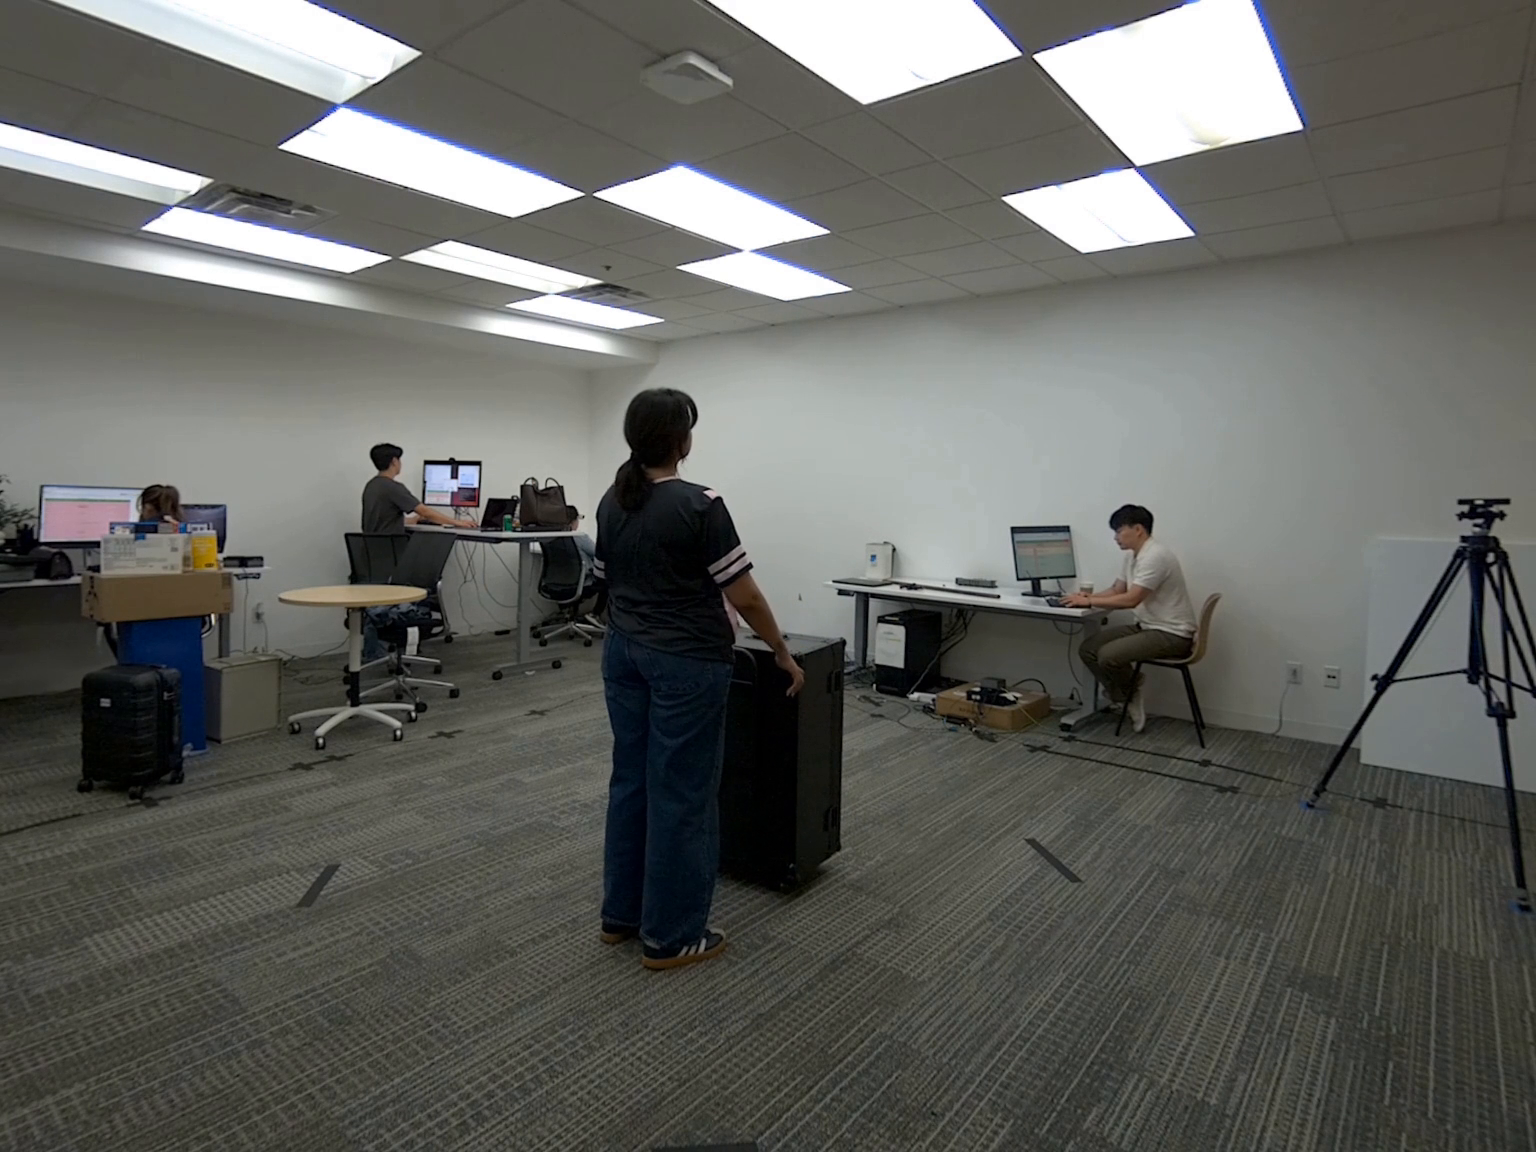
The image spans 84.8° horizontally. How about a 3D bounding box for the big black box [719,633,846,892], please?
[{"bbox_3d":[-0.023,0.654,3.092,0.539,0.865,0.375,3,4,31],"label":"big black box"}]
